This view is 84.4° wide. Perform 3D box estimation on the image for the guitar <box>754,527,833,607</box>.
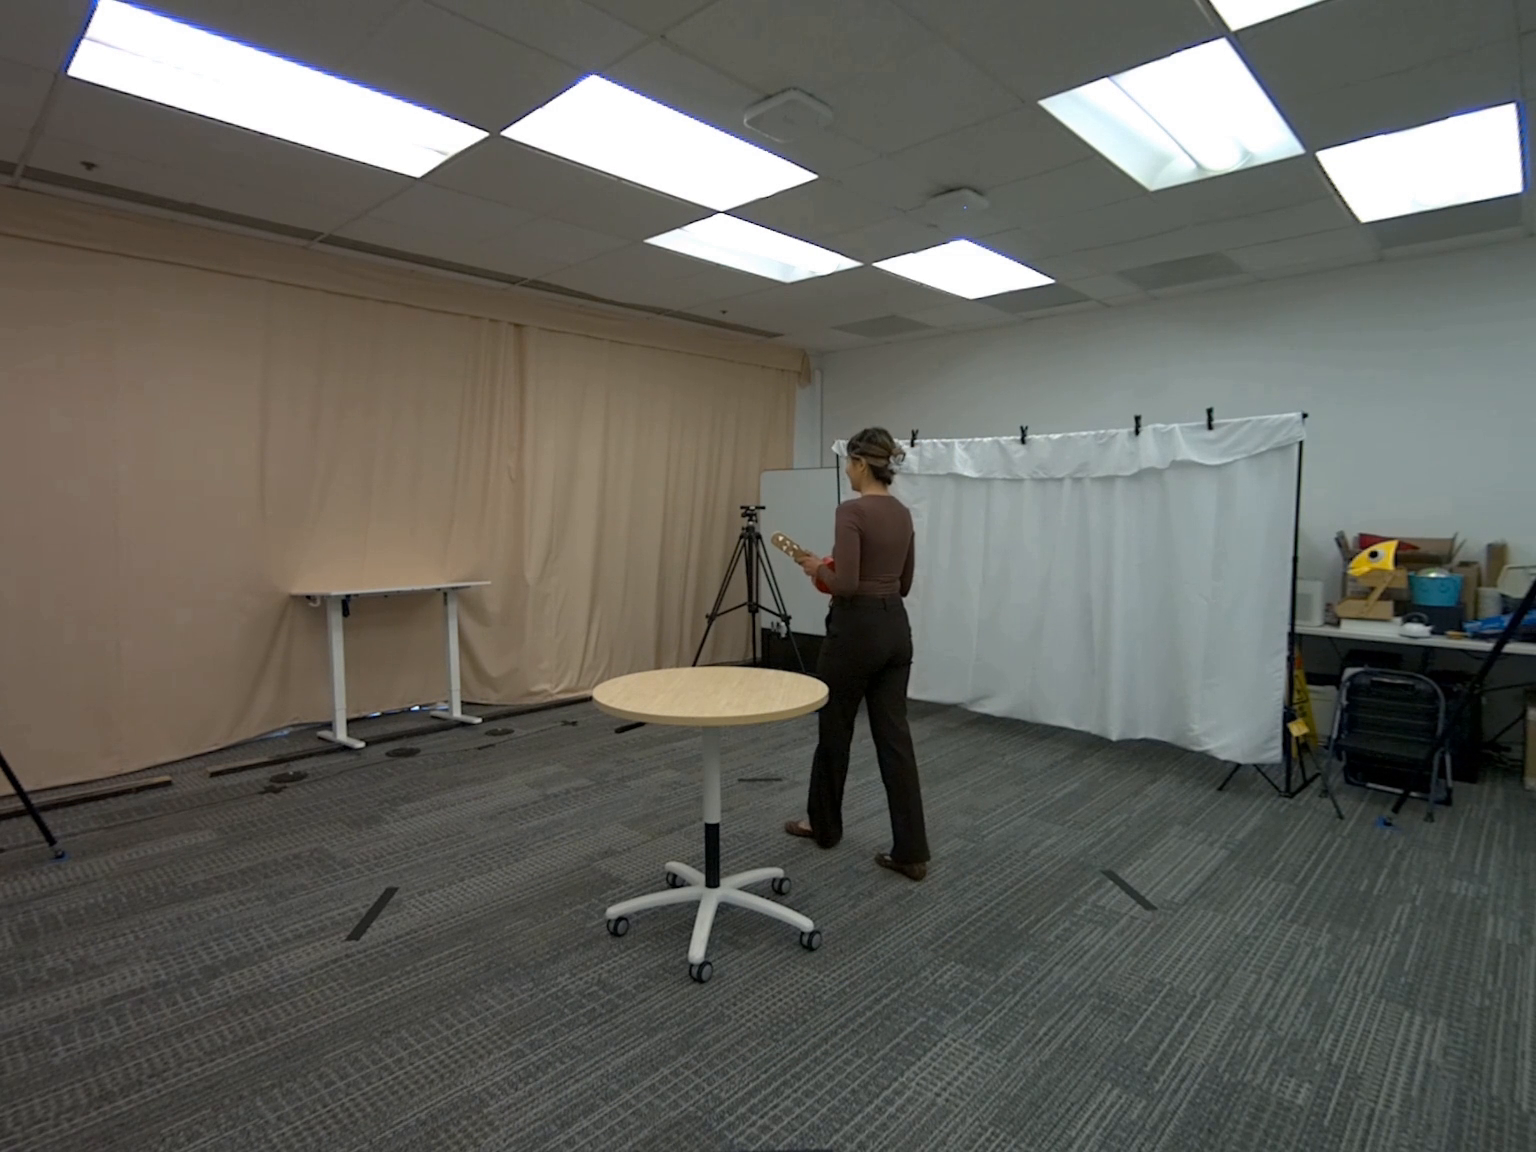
[{"bbox_3d":[0.212,-0.005,3.407,0.487,0.193,0.072,24,16,-18],"label":"guitar"}]
